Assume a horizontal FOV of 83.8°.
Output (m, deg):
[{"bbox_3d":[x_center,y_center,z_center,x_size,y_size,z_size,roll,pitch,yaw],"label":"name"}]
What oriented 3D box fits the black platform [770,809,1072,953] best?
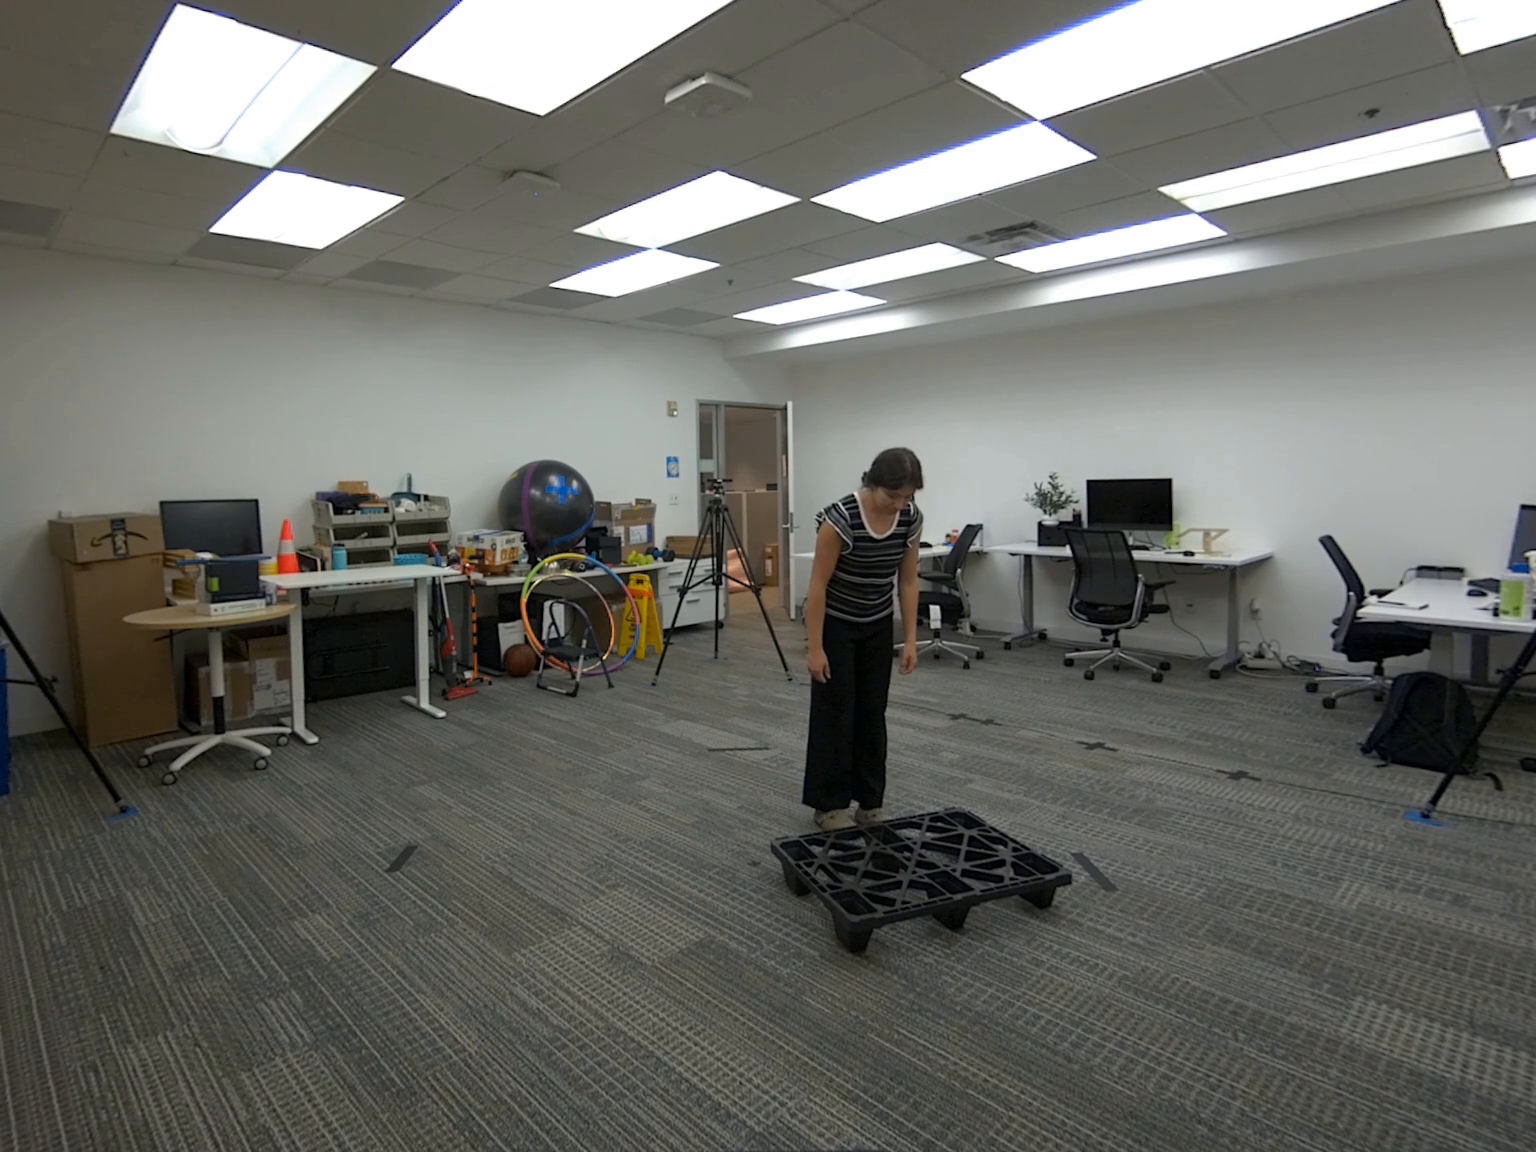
[{"bbox_3d":[0.494,0.997,2.850,0.791,0.142,0.620,-4,8,-21],"label":"black platform"}]
